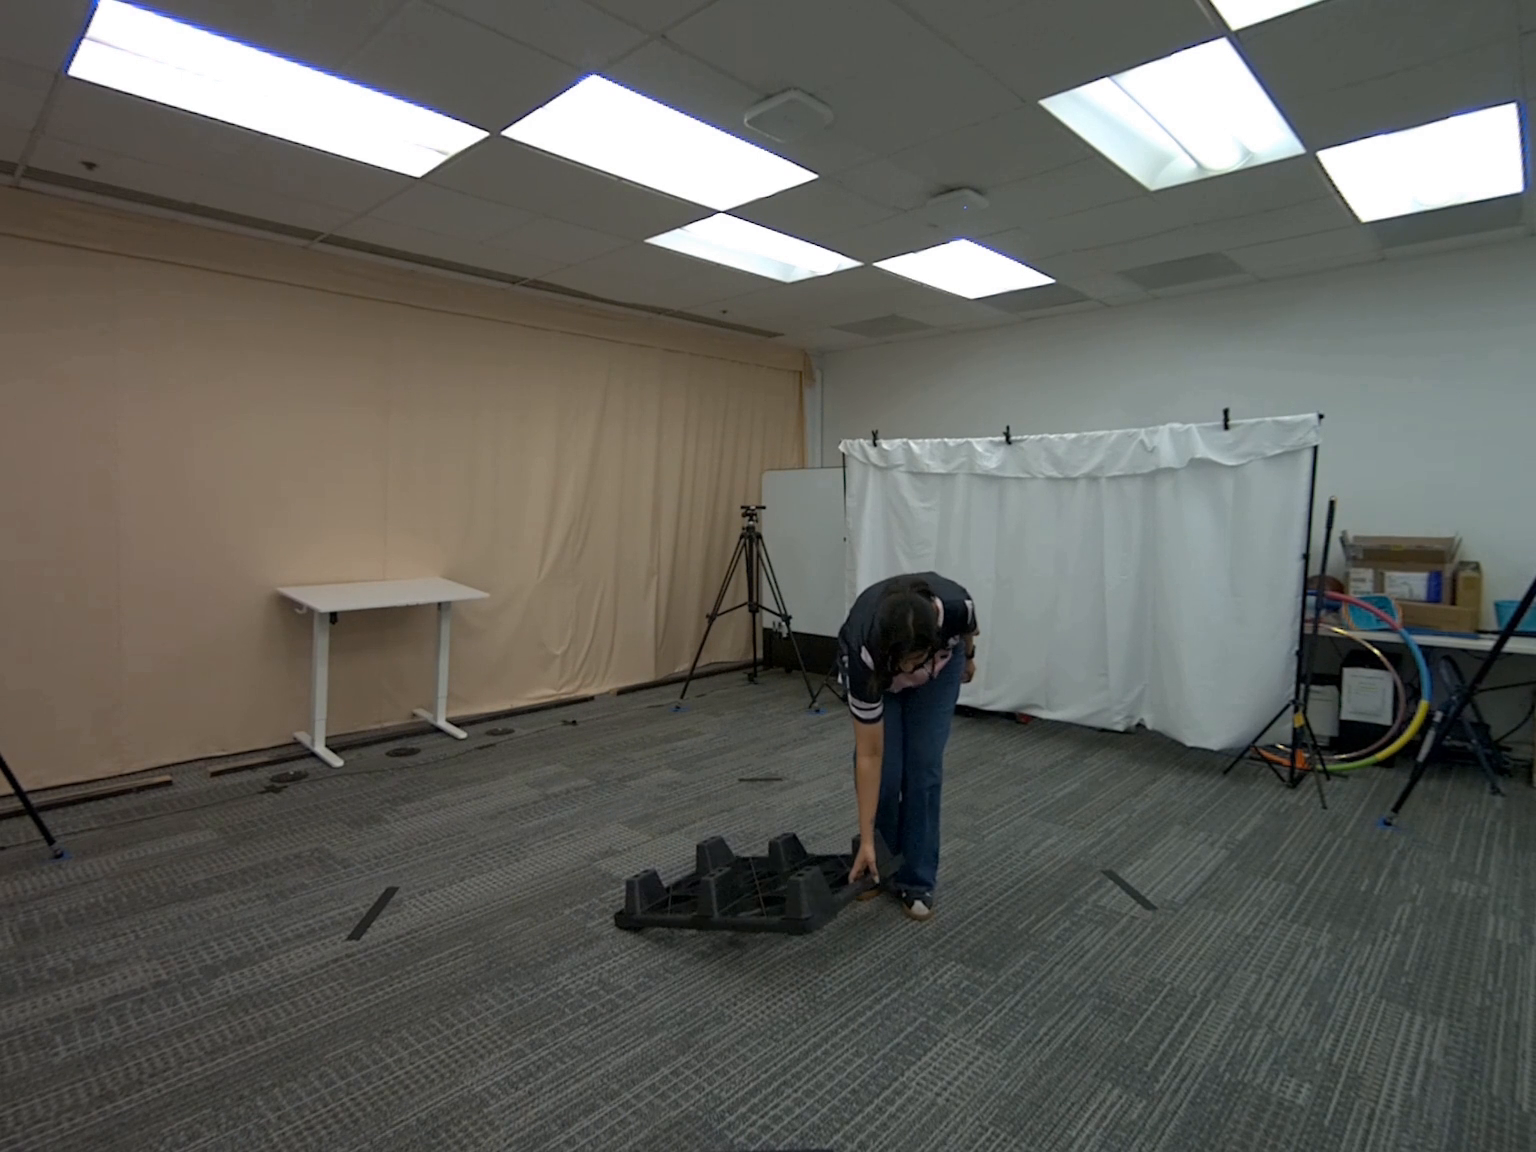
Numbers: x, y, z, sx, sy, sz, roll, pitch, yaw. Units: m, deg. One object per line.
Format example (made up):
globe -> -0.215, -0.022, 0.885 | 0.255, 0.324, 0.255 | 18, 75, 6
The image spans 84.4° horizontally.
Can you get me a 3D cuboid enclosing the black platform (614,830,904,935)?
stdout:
black platform -> -0.045, 0.995, 2.784 | 0.825, 0.144, 0.587 | -16, -6, 37
